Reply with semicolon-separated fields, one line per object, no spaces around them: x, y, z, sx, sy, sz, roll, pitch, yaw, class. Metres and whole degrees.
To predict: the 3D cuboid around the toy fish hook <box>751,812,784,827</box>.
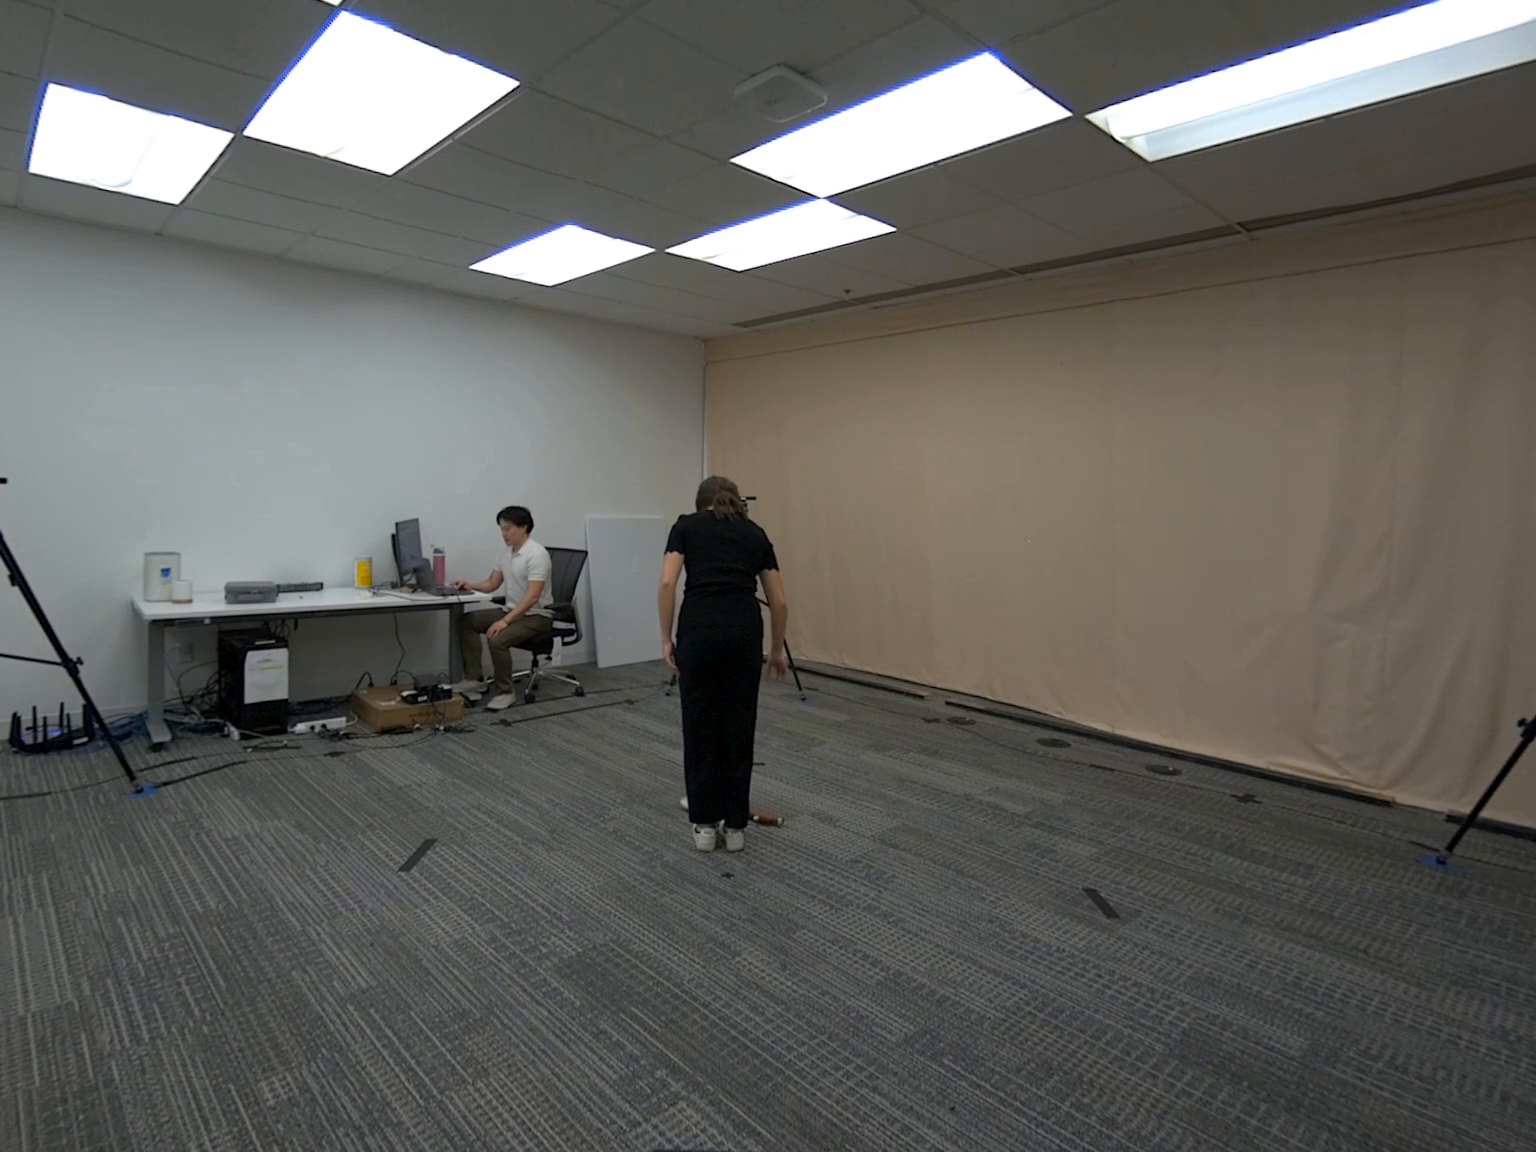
-0.153;1.027;3.737;0.517;0.048;0.221;4;7;25;toy fish hook
